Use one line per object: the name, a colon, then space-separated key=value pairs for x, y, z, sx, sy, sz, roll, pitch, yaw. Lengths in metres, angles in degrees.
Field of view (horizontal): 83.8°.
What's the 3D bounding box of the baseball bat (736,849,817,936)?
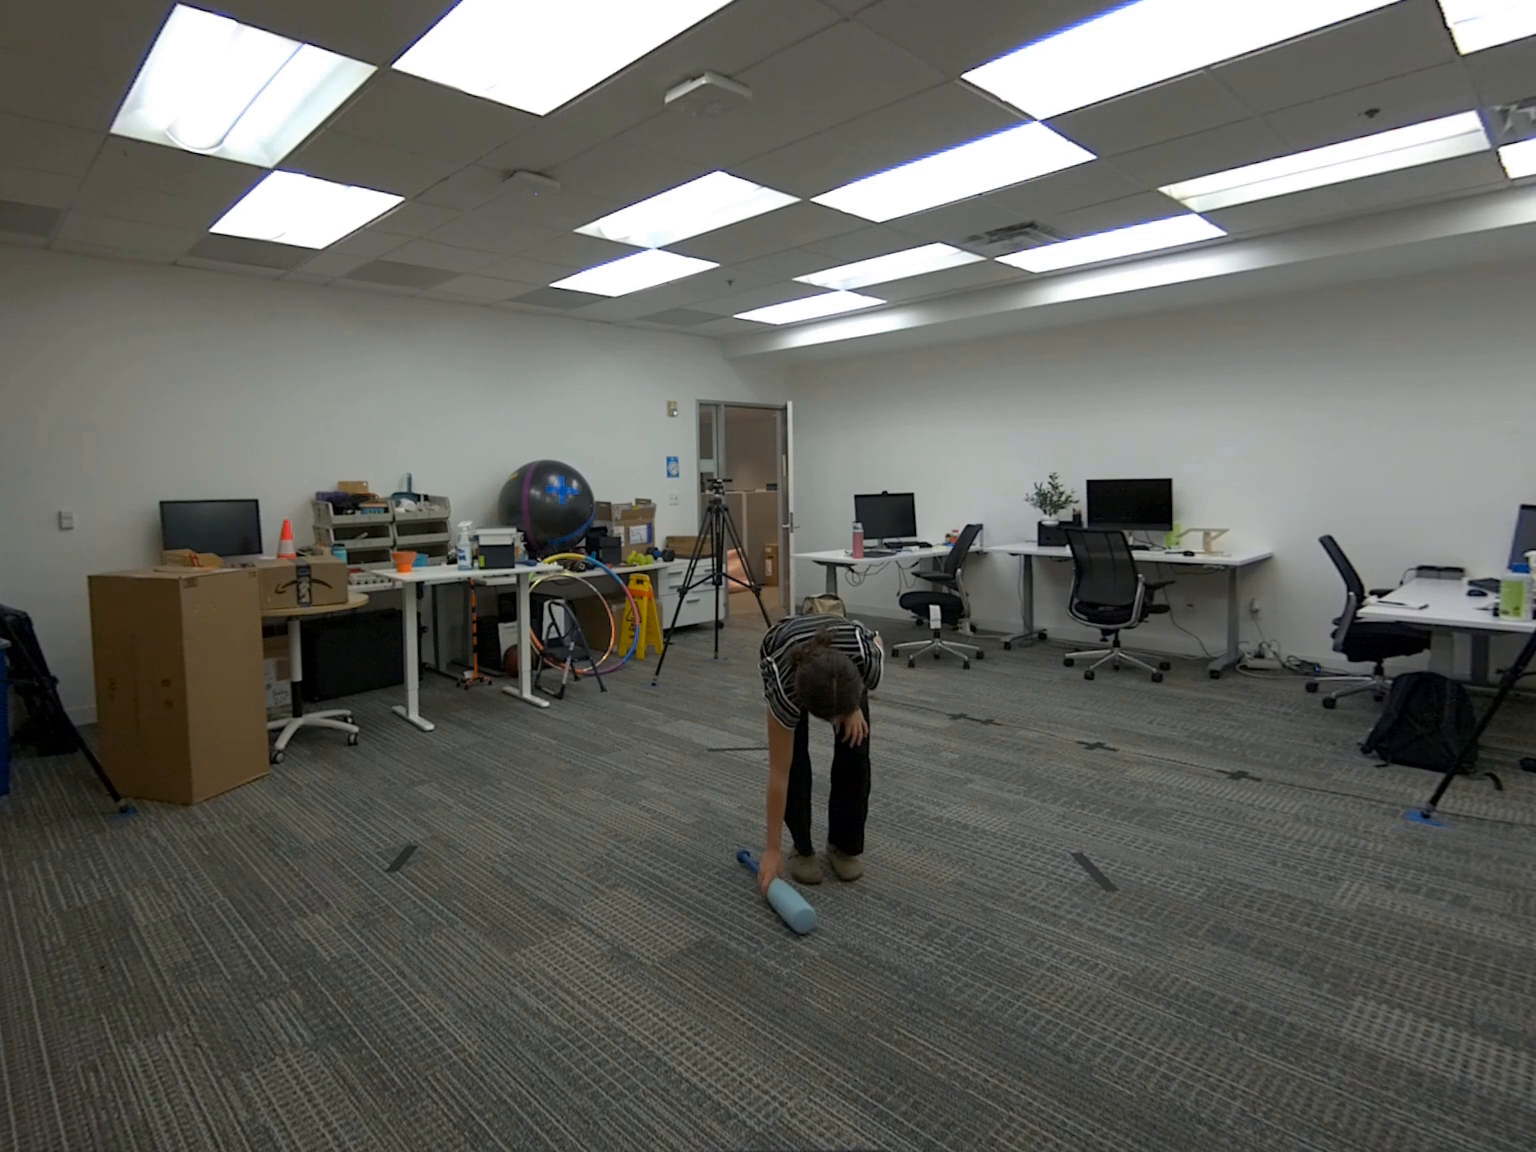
baseball bat: x=0.010 y=1.032 z=2.849 sx=0.087 sy=0.089 sz=0.554 roll=-3 pitch=4 yaw=-21
